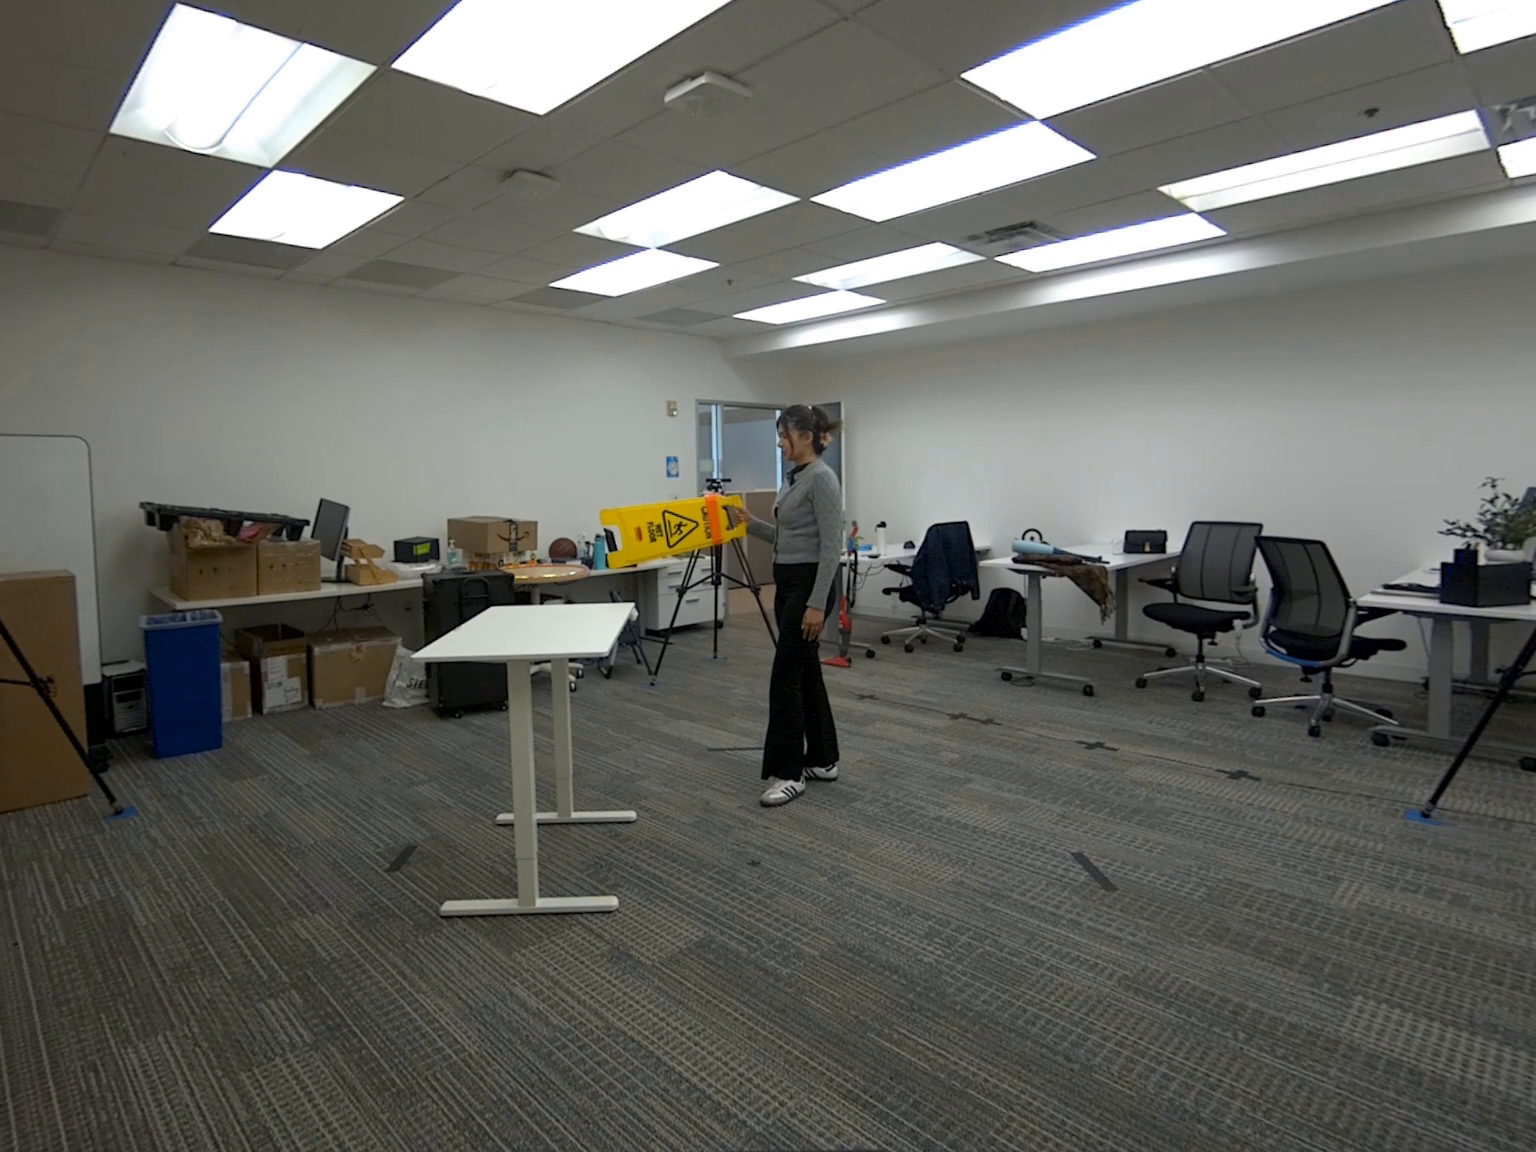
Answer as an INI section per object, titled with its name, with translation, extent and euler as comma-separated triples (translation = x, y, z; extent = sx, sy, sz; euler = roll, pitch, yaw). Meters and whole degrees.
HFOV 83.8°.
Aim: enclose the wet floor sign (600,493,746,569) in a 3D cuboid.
[wet floor sign]
translation = -0.426, -0.228, 4.044
extent = 0.649, 0.282, 0.288
euler = -11, 1, 6
